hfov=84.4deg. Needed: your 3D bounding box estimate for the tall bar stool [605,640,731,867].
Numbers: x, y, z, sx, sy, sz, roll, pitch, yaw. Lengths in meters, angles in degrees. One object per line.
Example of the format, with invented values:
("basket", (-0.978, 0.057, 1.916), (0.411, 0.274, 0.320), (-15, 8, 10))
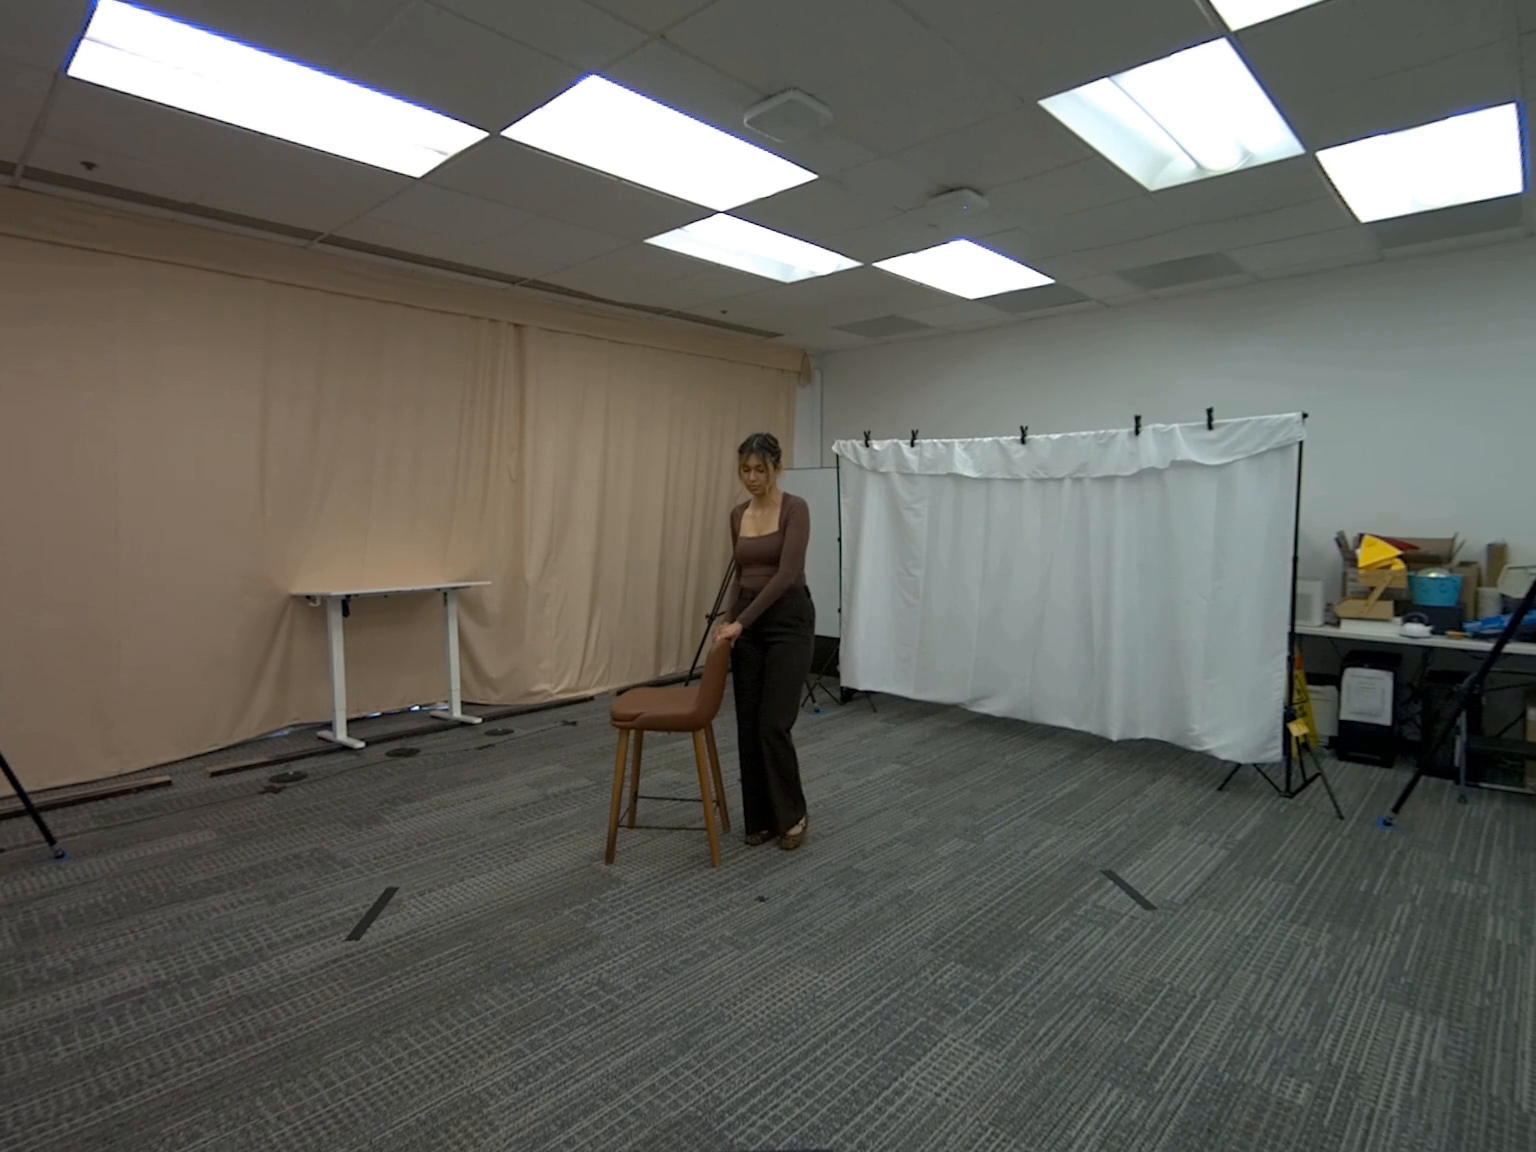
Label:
("tall bar stool", (-0.394, 0.671, 3.430), (0.472, 0.887, 0.454), (2, 4, 6))
